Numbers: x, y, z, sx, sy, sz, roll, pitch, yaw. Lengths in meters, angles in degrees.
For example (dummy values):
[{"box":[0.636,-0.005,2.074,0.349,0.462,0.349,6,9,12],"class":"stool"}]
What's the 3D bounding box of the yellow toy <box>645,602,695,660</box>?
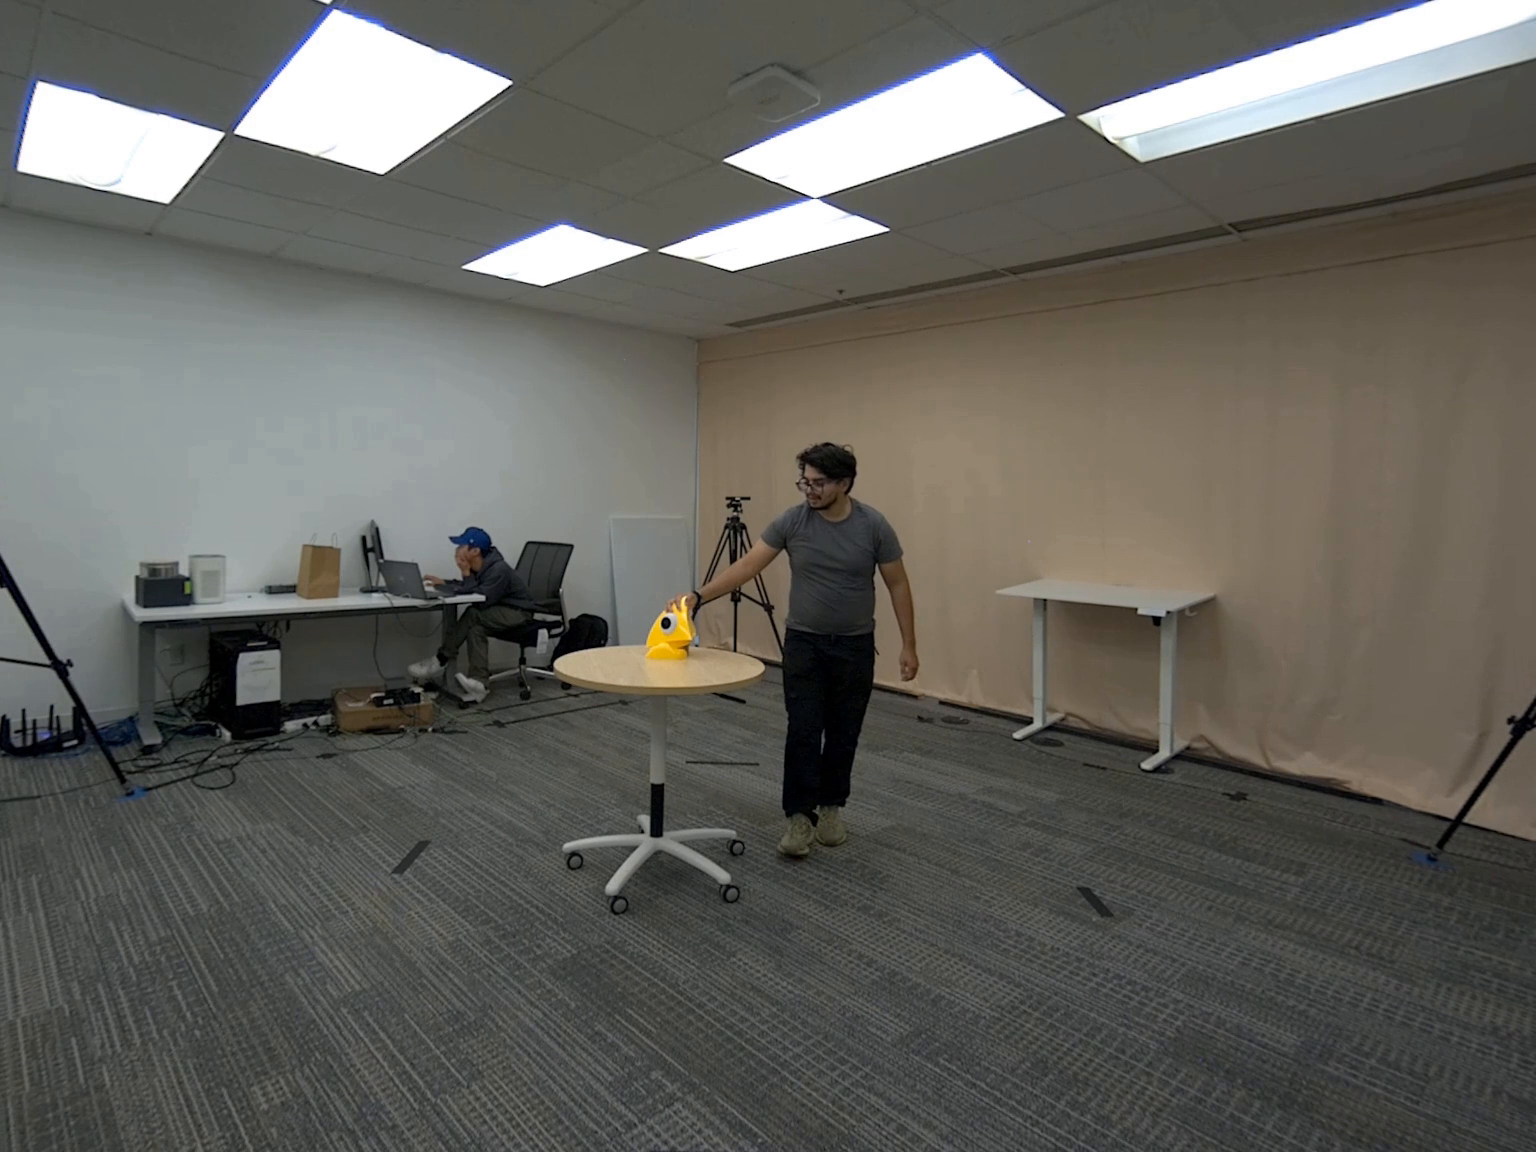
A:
[{"box":[-0.383,0.189,3.257,0.193,0.230,0.205,3,4,2],"class":"yellow toy"}]
